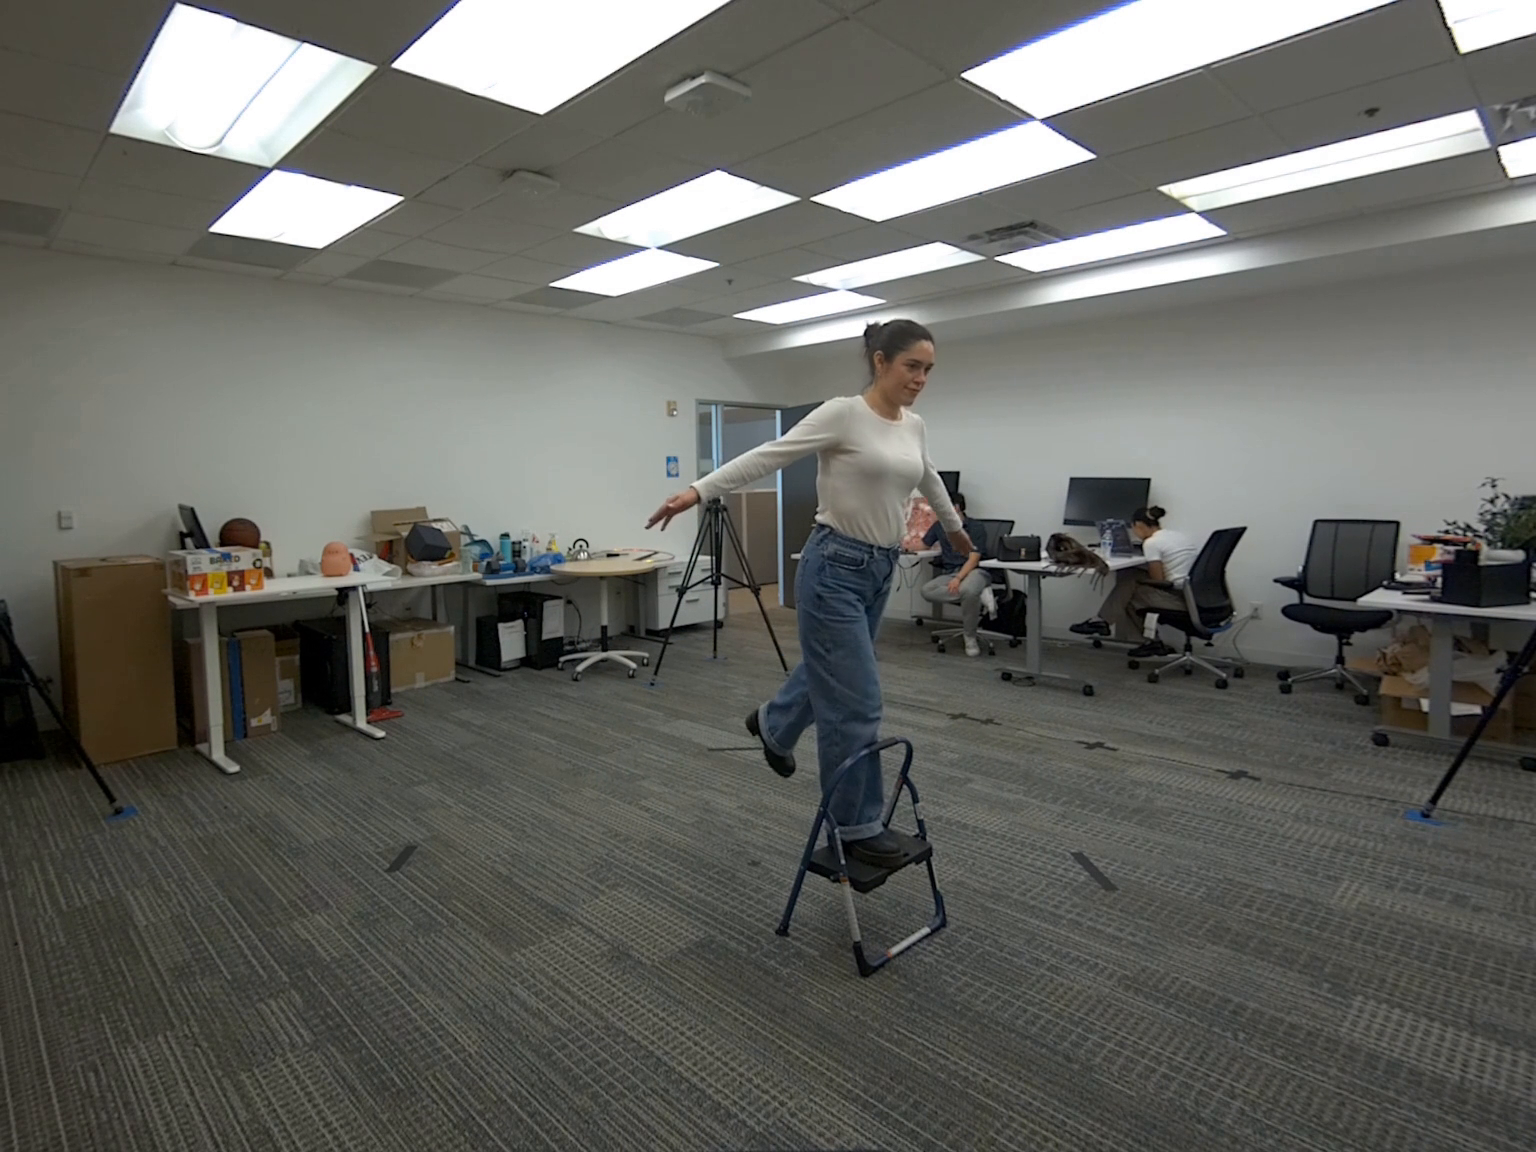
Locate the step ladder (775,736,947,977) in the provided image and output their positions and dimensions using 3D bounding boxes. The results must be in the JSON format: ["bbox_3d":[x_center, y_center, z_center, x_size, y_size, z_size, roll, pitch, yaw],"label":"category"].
[{"bbox_3d":[0.292,0.792,2.625,0.360,0.604,0.419,3,6,45],"label":"step ladder"}]
